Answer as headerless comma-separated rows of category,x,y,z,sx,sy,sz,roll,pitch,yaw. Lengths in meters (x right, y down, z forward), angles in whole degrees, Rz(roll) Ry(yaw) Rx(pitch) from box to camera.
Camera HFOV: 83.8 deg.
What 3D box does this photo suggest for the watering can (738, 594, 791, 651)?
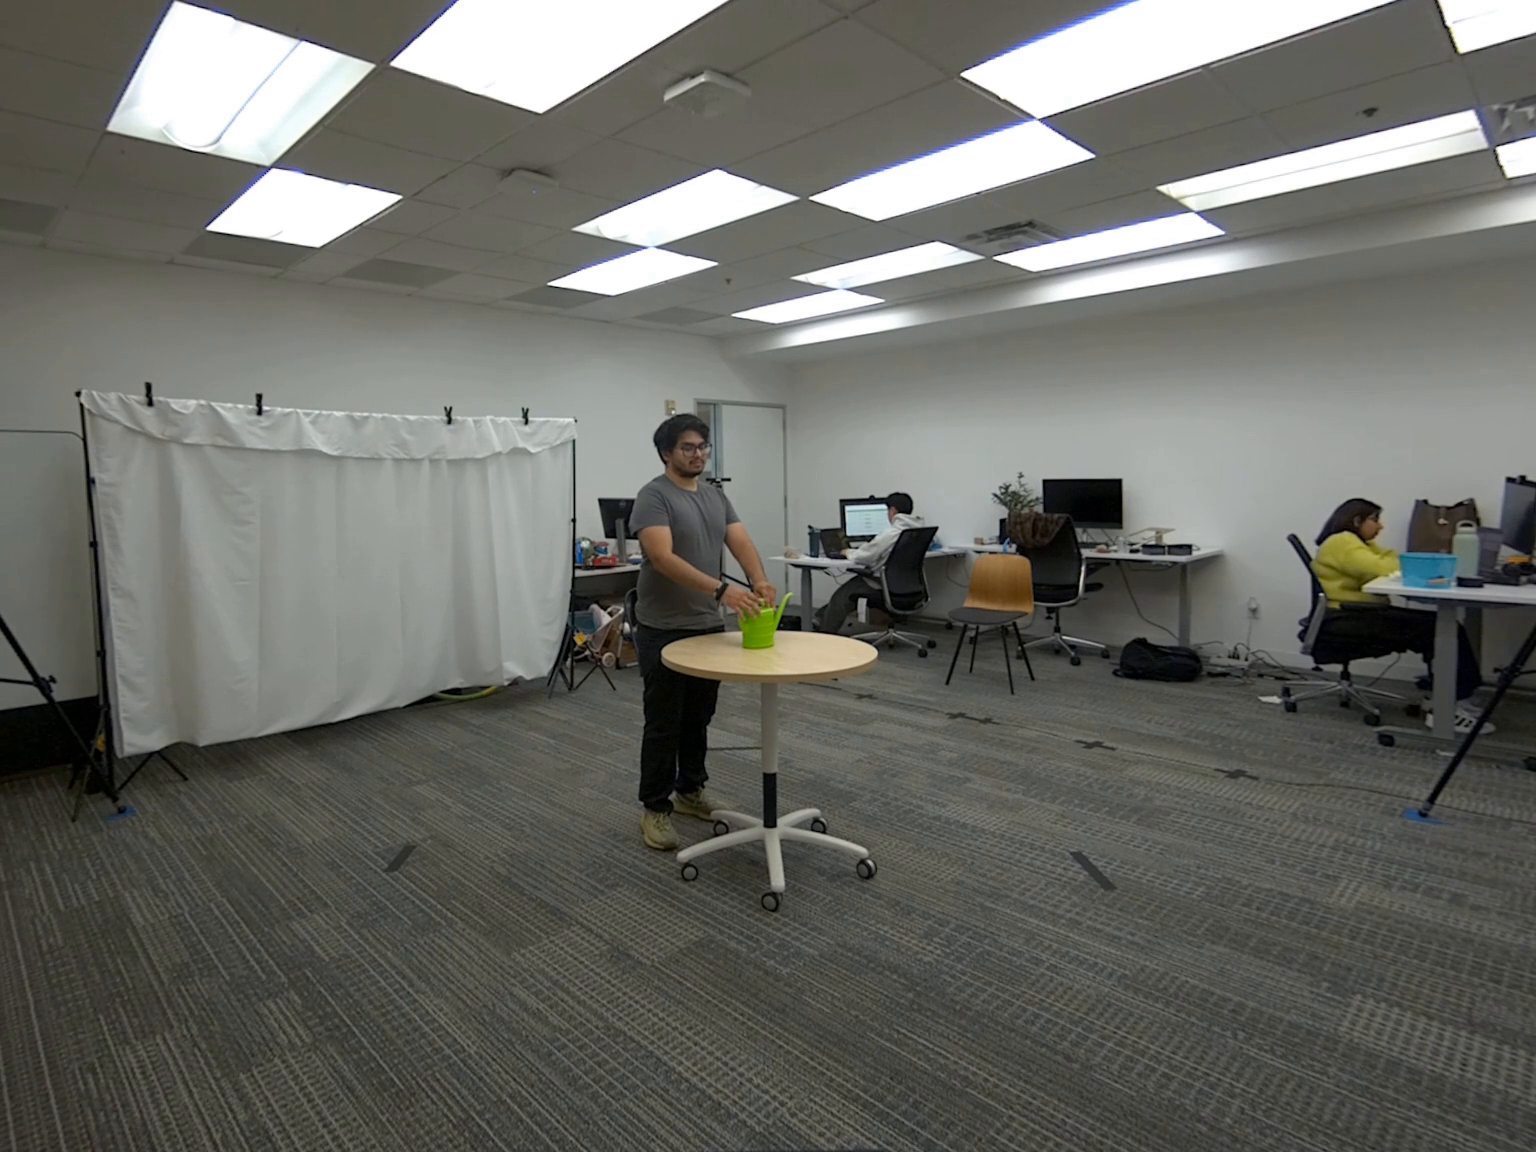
watering can,0.001,0.166,3.138,0.272,0.176,0.101,-8,9,-36
